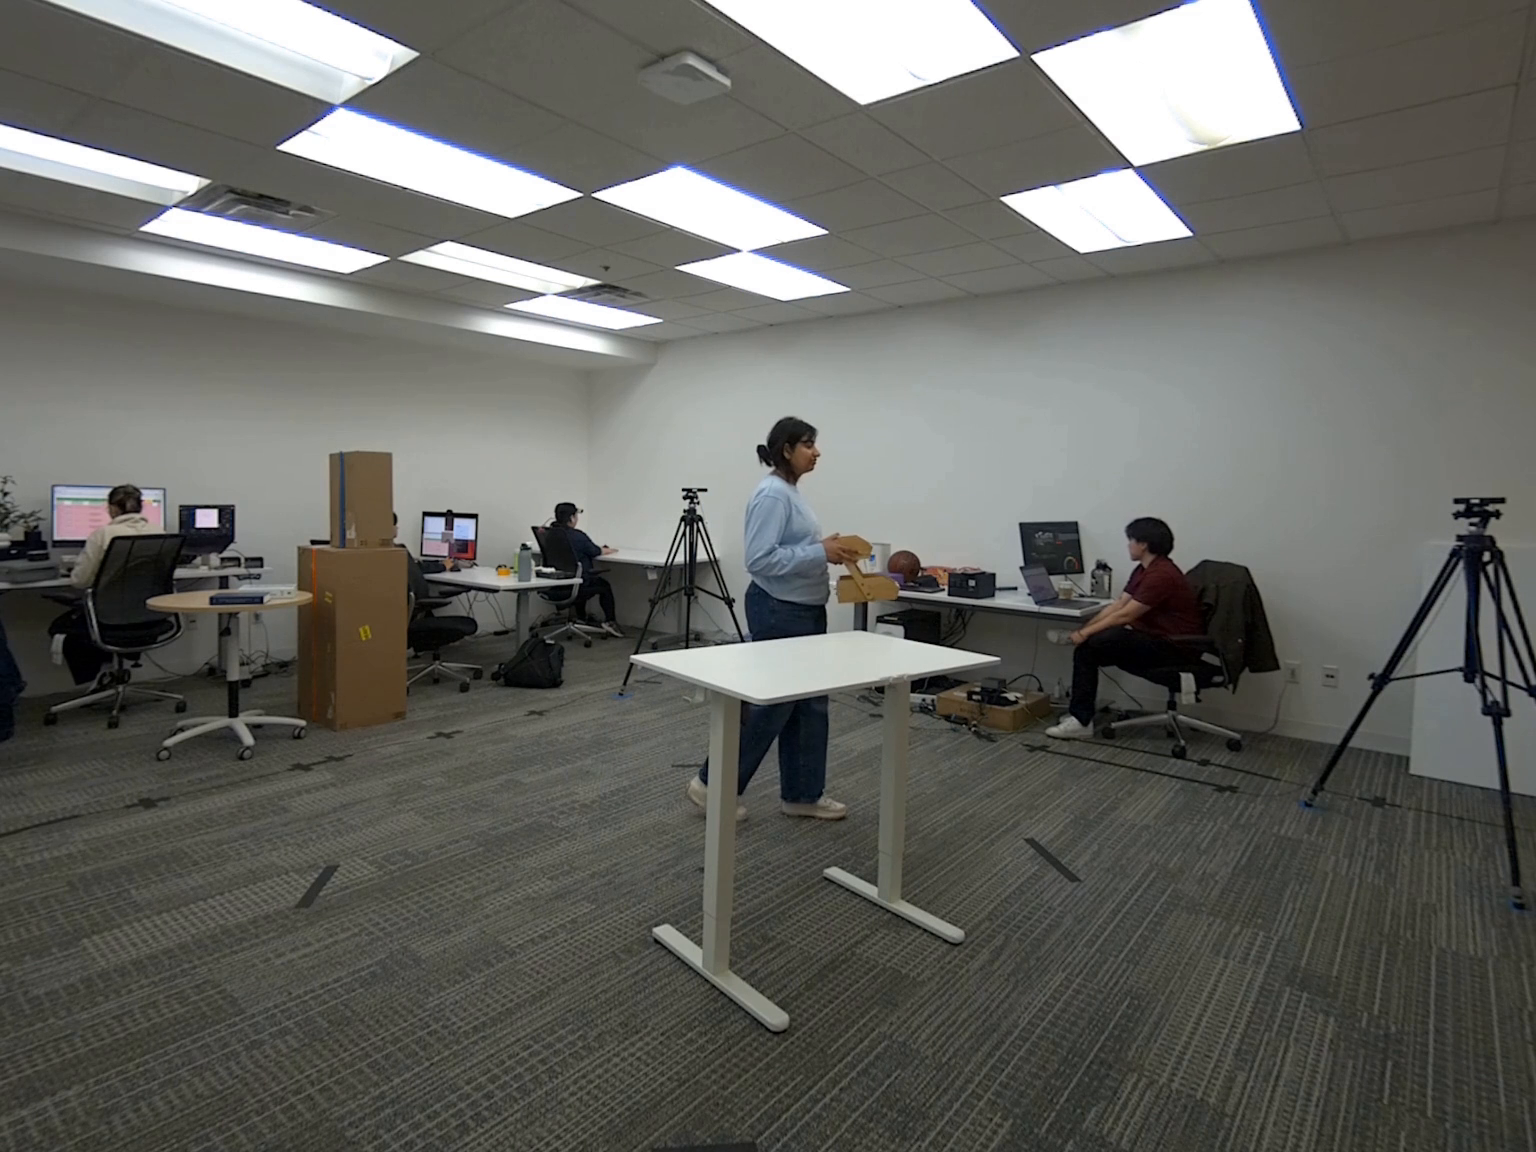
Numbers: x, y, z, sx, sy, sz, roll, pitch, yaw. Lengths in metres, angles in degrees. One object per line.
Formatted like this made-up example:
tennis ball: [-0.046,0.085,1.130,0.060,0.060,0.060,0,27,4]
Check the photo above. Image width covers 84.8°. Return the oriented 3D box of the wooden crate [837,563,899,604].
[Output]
wooden crate: [0.363,-0.039,3.550,0.304,0.273,0.323,-6,1,5]
